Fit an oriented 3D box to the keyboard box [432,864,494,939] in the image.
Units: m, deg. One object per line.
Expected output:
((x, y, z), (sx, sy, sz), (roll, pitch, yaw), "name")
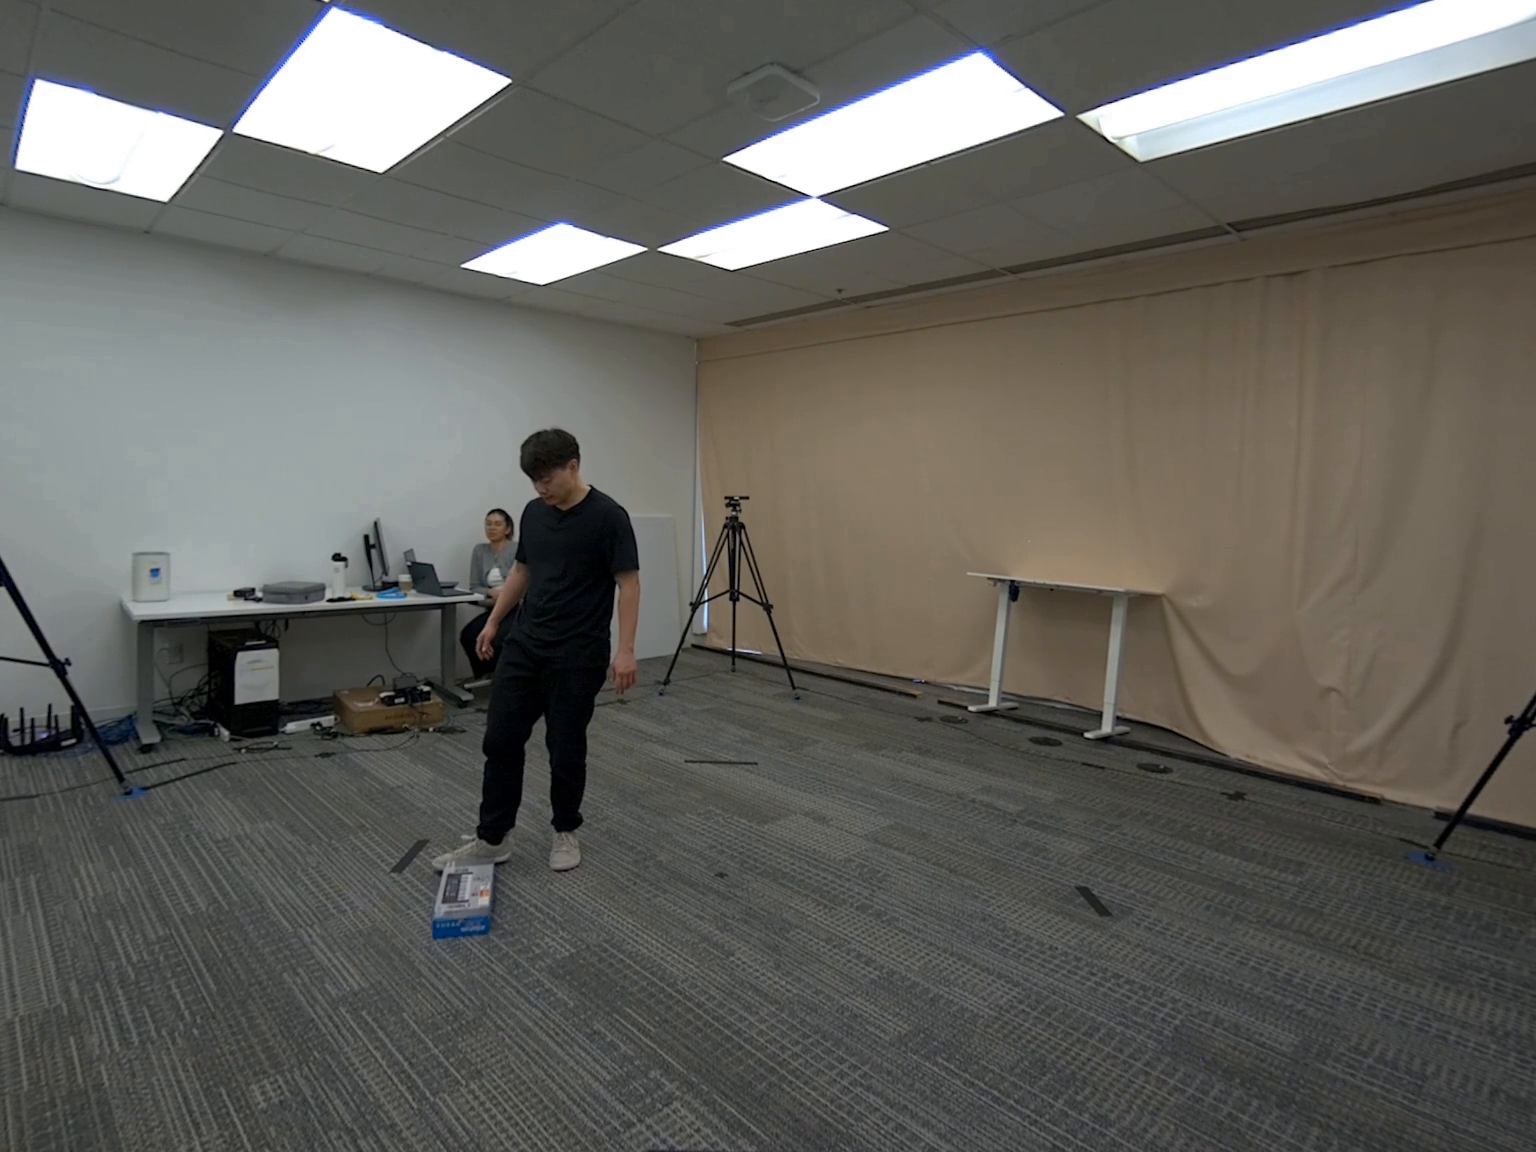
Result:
((-1.032, 1.081, 2.849), (0.174, 0.059, 0.443), (0, 5, -15), "keyboard box")
